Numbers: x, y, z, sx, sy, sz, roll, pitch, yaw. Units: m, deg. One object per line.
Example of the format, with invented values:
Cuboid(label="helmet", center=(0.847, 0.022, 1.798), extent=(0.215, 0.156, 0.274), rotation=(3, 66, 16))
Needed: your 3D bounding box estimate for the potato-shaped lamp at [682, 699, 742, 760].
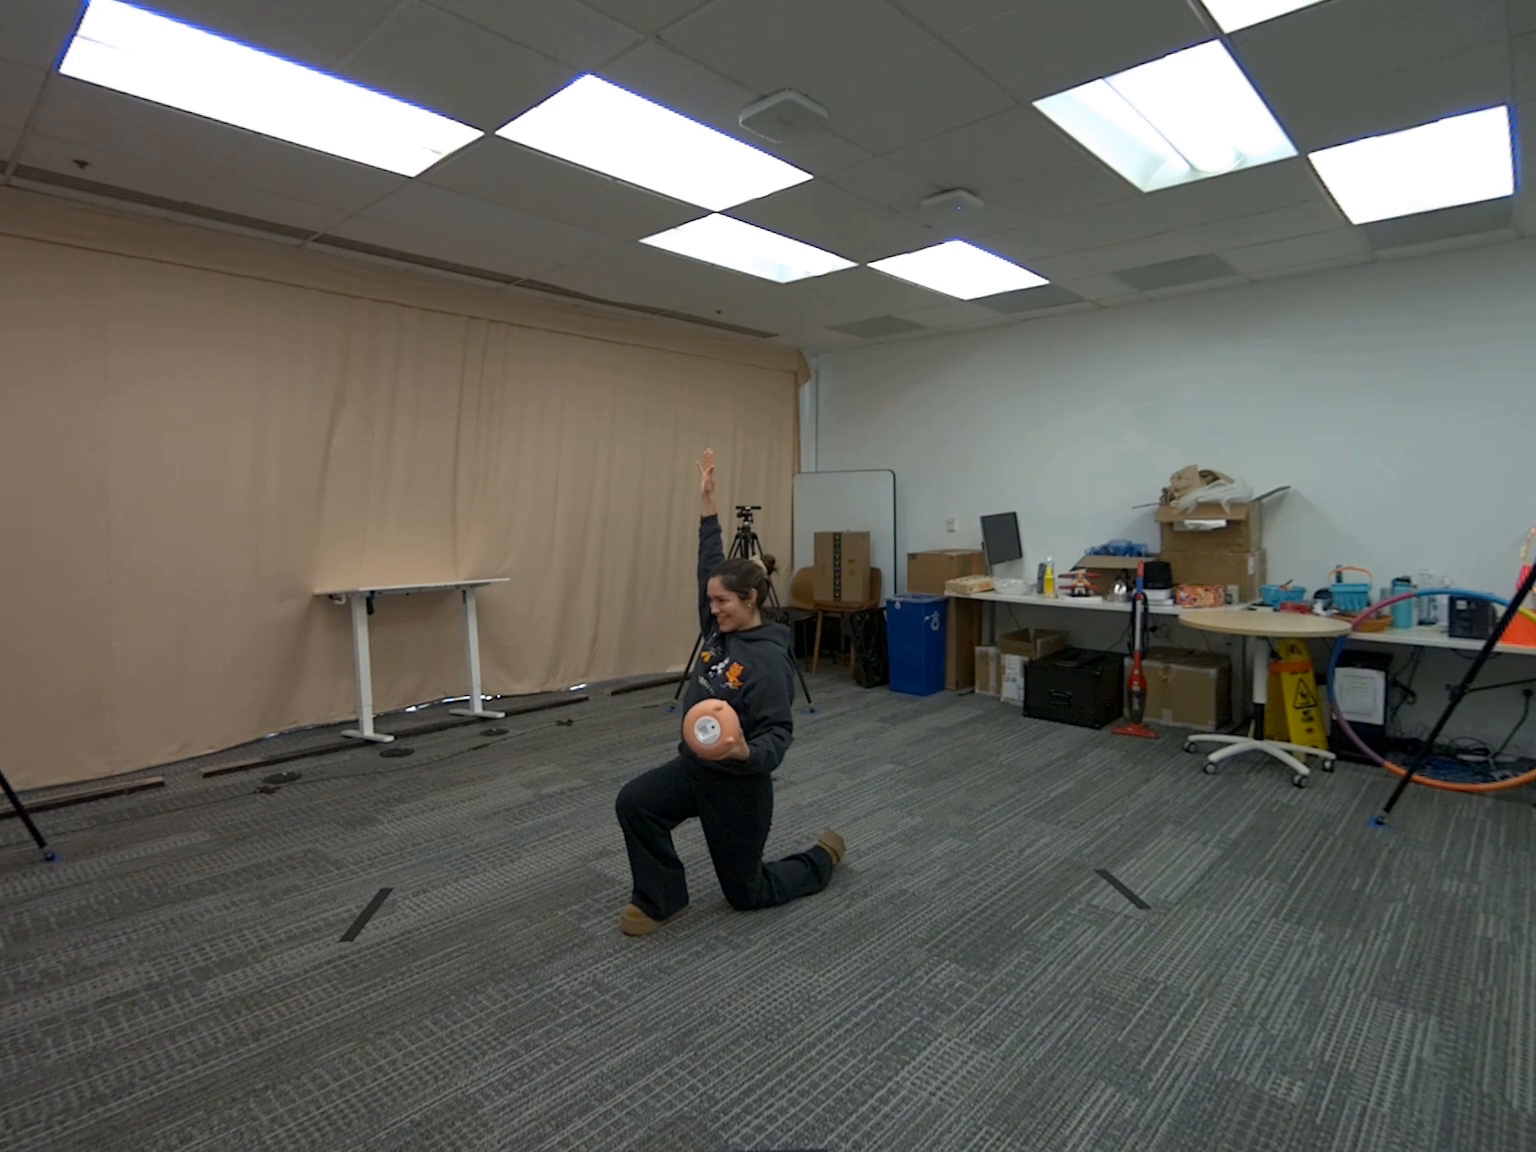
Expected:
Cuboid(label="potato-shaped lamp", center=(-0.145, 0.447, 2.501), extent=(0.173, 0.166, 0.194), rotation=(-27, -11, 14))
